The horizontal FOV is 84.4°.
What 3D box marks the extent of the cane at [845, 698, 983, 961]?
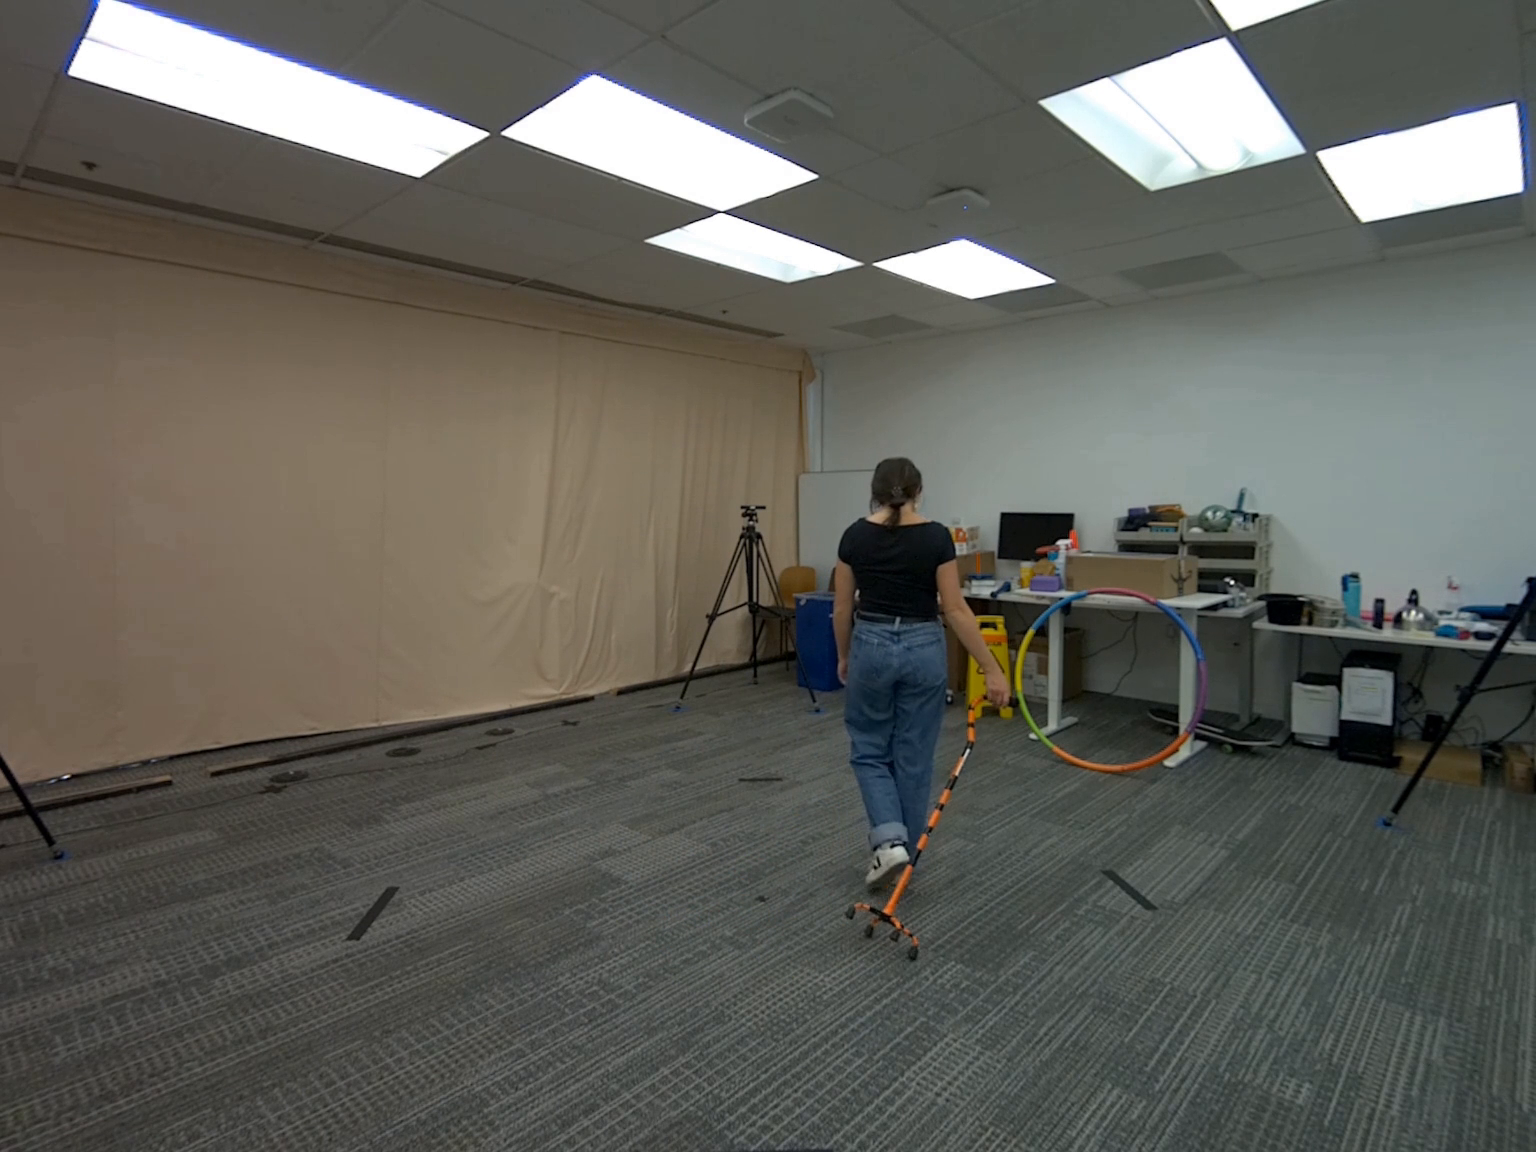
[{"bbox_3d":[0.583,0.778,2.791,0.213,0.906,0.147,6,-36,47],"label":"cane"}]
